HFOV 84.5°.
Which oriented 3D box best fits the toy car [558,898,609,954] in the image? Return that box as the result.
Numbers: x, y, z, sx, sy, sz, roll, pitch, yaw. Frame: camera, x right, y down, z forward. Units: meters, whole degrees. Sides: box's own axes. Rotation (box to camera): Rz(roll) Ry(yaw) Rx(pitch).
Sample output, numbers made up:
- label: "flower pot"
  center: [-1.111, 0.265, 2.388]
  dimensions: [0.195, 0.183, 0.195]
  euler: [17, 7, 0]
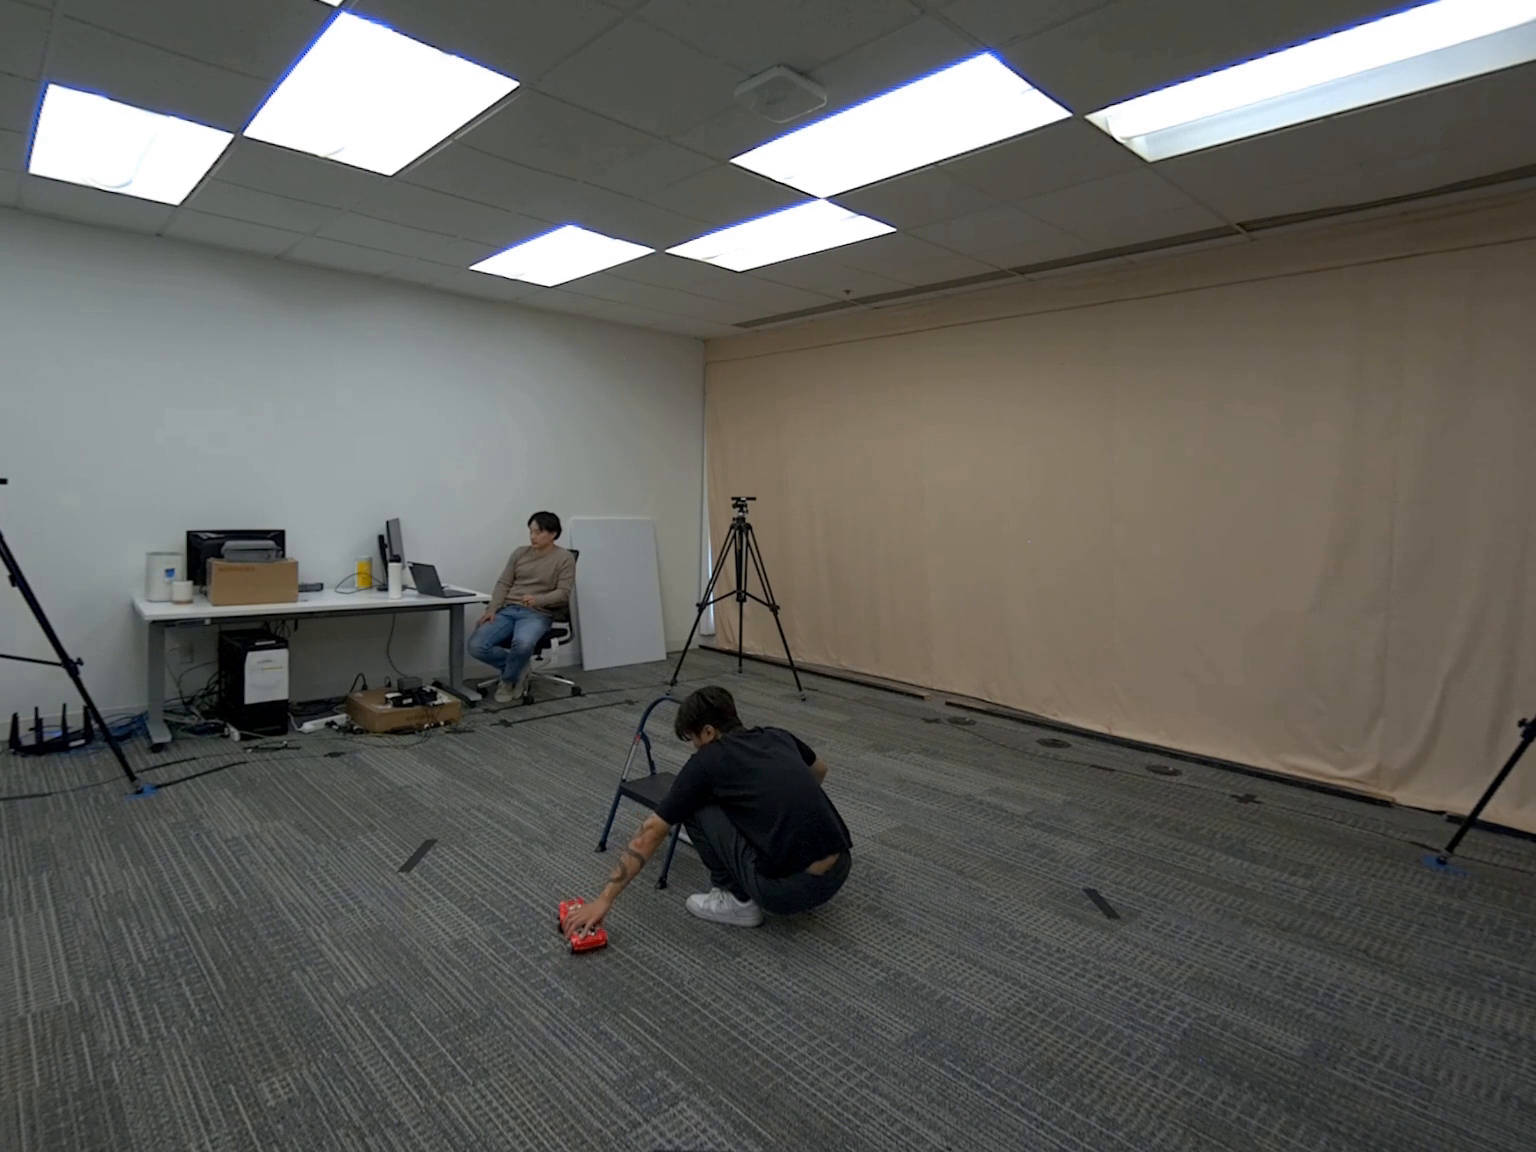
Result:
- label: "toy car"
  center: [-0.597, 1.097, 2.665]
  dimensions: [0.128, 0.082, 0.261]
  euler: [-5, 17, -24]
